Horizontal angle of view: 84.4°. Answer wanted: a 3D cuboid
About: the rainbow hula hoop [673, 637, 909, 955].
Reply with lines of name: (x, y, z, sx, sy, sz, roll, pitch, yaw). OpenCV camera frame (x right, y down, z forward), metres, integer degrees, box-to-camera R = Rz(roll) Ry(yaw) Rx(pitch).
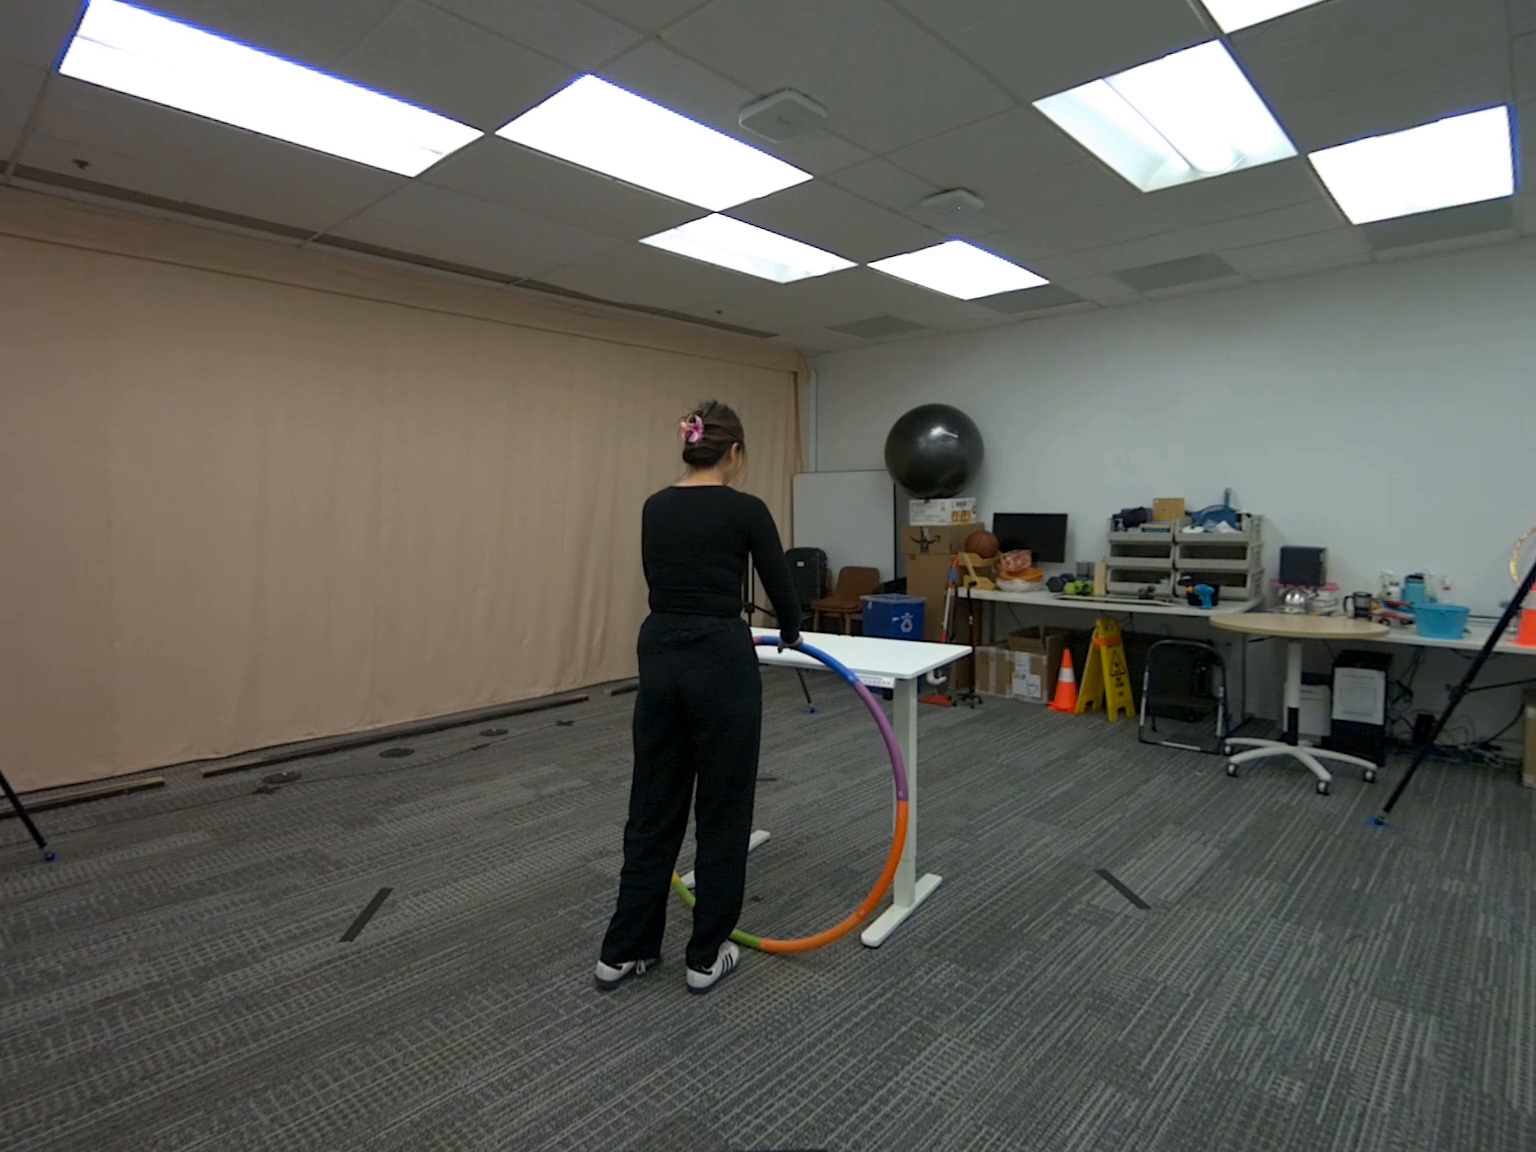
rainbow hula hoop: (-0.022, 0.685, 2.719, 1.009, 0.982, 0.034, 3, -8, 34)
